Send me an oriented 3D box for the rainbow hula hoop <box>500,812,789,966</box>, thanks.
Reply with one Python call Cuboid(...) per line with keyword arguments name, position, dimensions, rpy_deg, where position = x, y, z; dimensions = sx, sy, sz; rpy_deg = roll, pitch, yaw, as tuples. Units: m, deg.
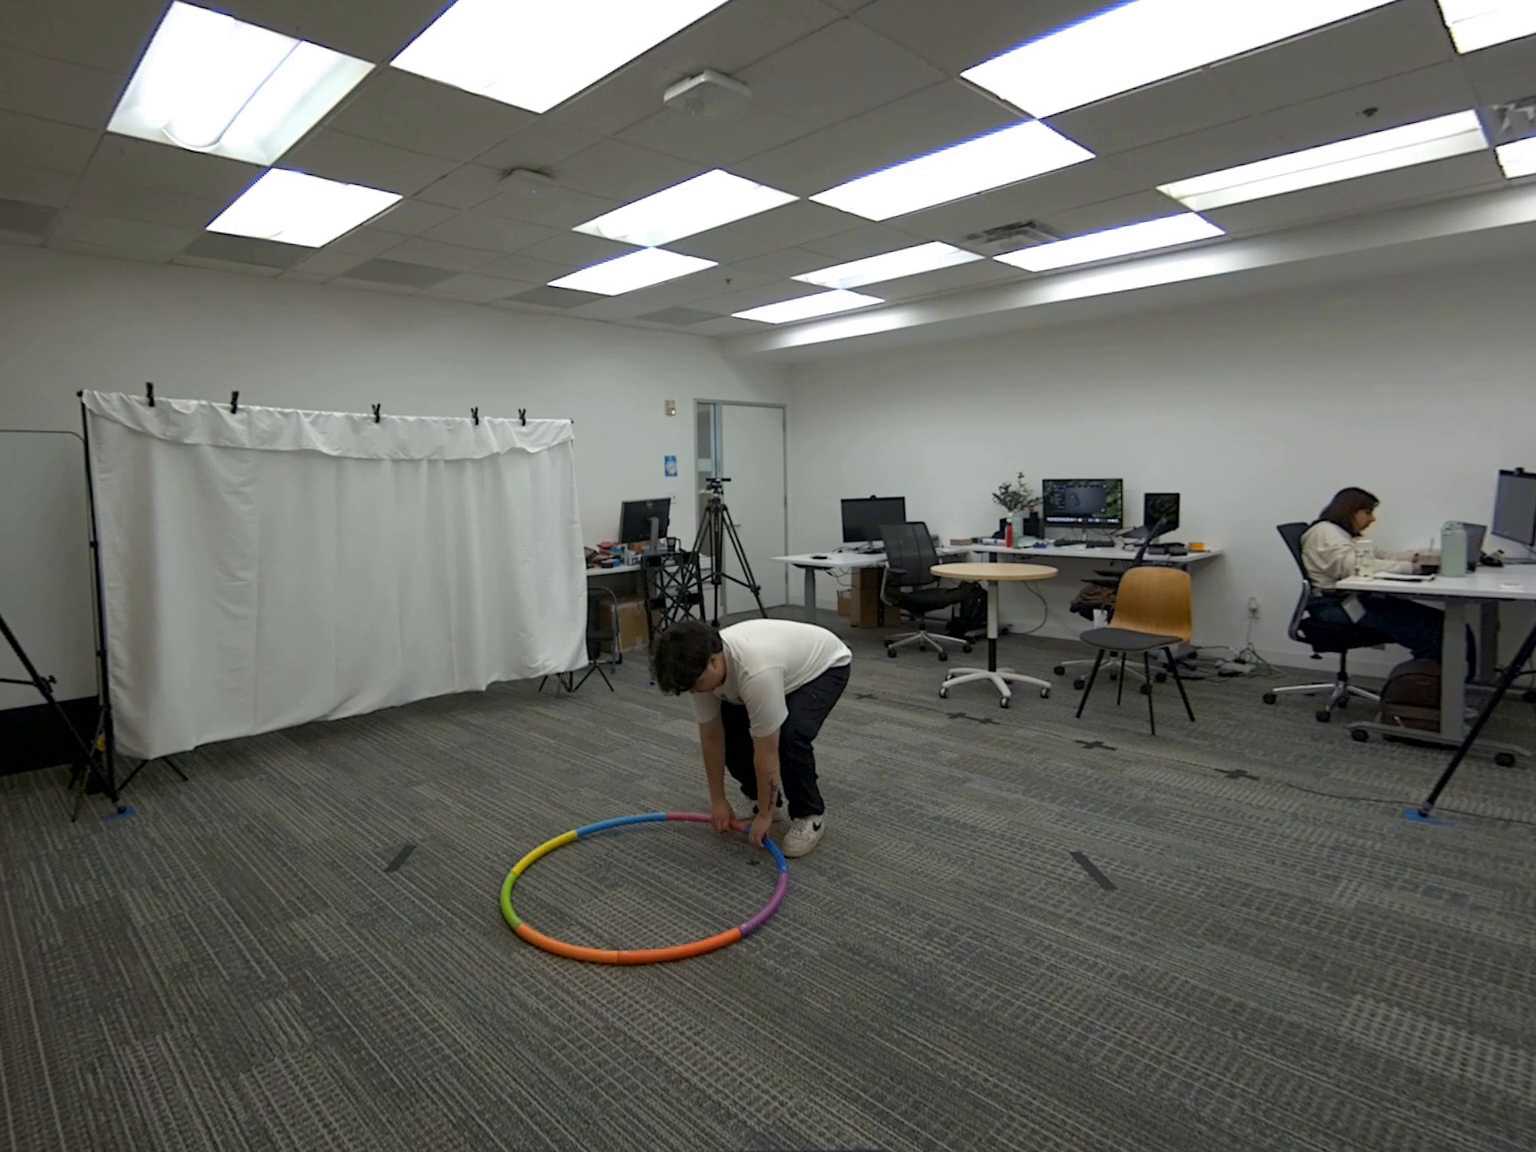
Cuboid(name="rainbow hula hoop", position=(-0.422, 1.022, 2.948), dimensions=(0.985, 0.051, 0.992), rpy_deg=(-3, 8, -1))
